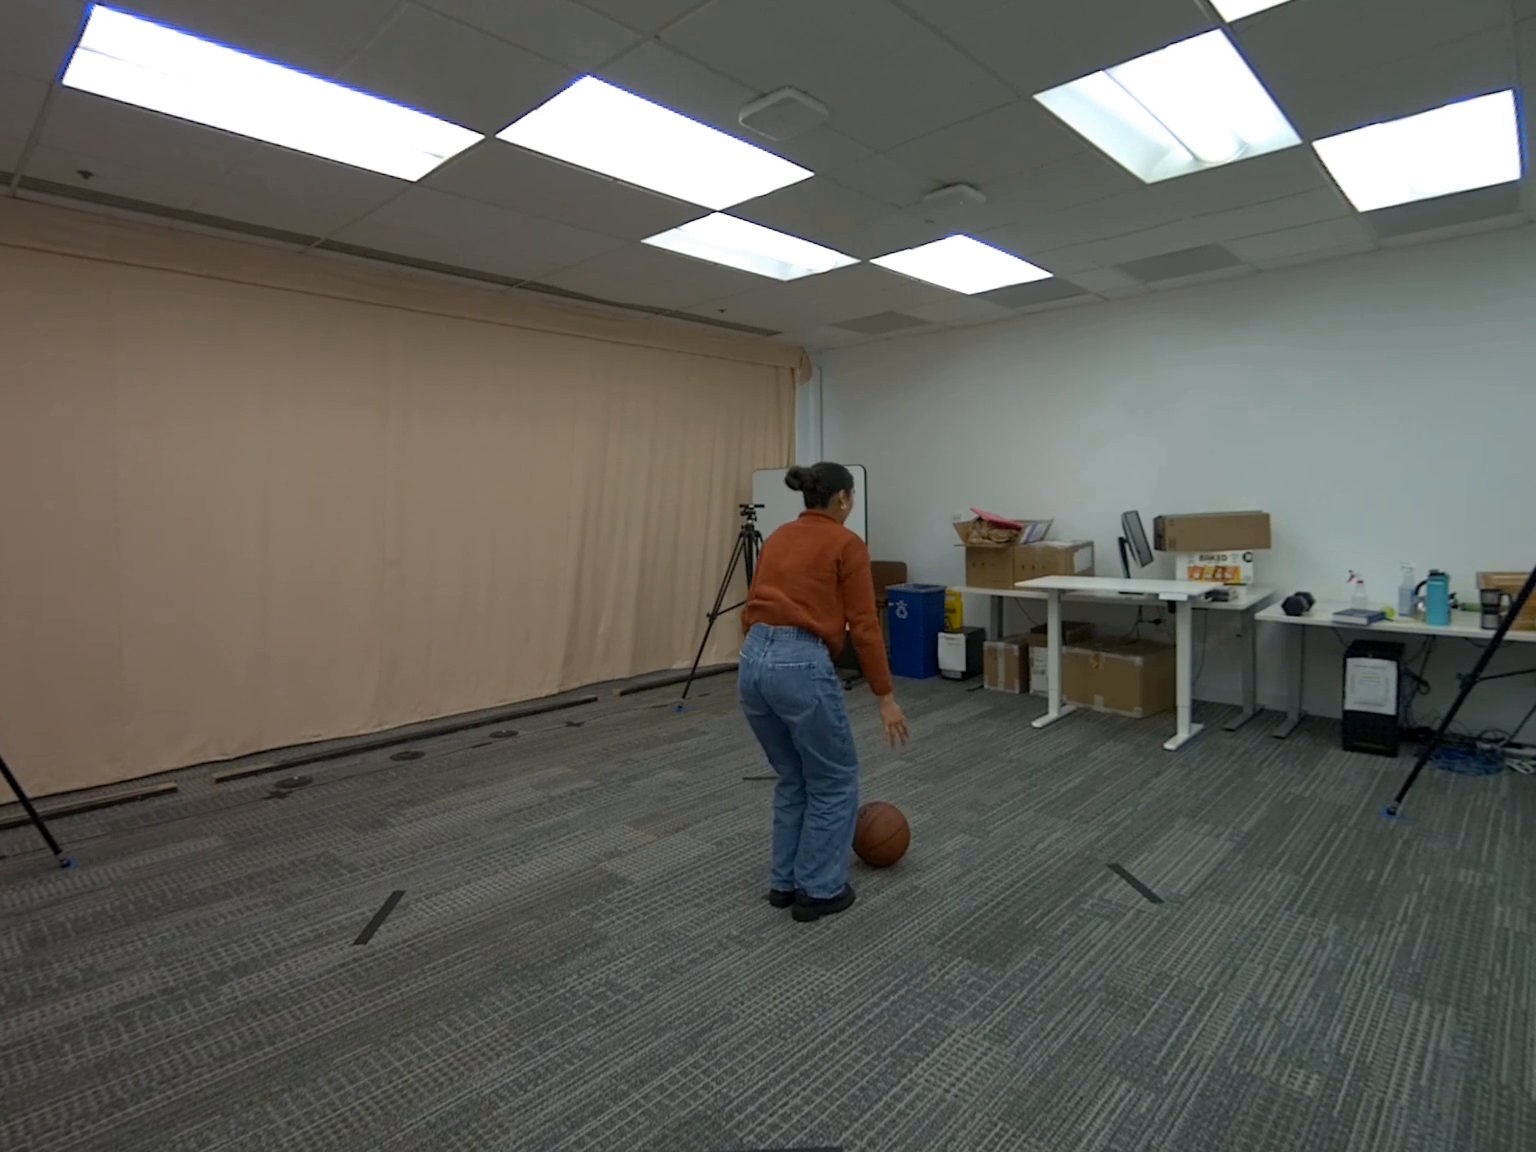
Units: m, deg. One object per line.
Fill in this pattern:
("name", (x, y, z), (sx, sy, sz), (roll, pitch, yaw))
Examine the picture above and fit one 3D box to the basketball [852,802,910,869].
("basketball", (0.432, 0.989, 3.243), (0.236, 0.235, 0.237), (-1, 4, -2))
